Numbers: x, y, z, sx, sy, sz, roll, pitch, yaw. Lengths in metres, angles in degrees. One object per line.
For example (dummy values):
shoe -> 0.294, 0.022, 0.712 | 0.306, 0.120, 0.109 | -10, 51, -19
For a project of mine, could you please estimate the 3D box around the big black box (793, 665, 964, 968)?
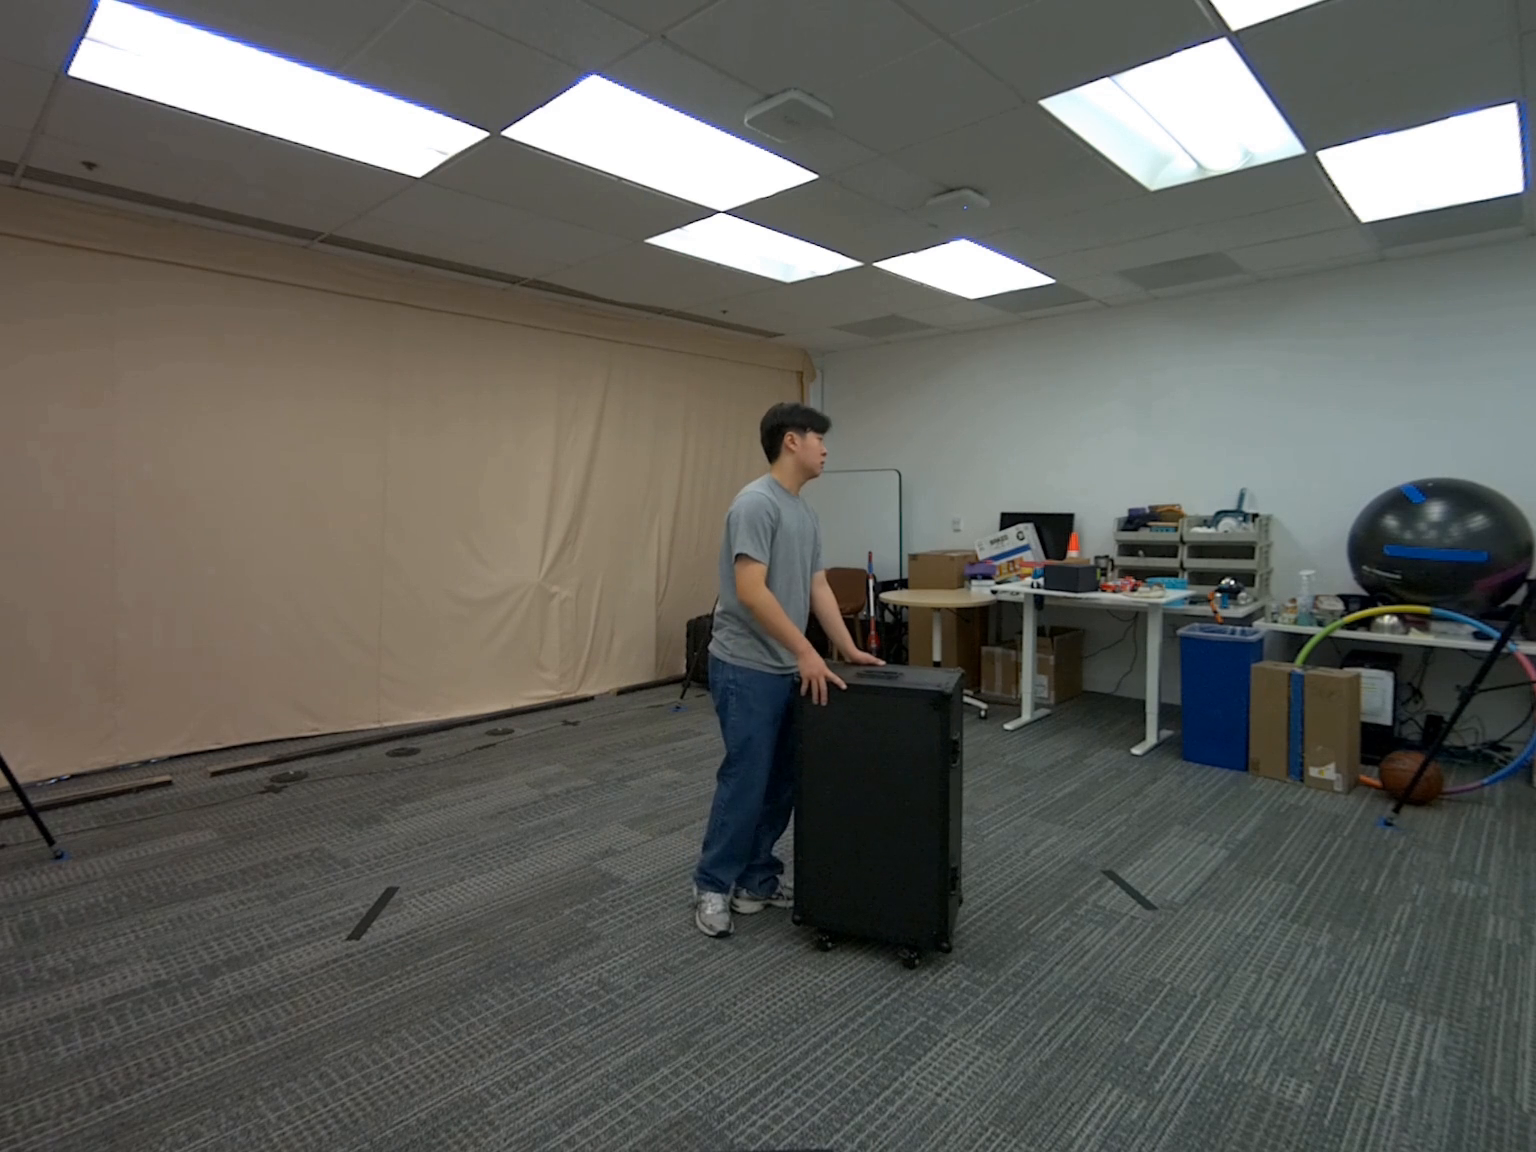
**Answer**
big black box -> 0.371, 0.744, 2.719 | 0.533, 0.861, 0.388 | 1, 2, 21
